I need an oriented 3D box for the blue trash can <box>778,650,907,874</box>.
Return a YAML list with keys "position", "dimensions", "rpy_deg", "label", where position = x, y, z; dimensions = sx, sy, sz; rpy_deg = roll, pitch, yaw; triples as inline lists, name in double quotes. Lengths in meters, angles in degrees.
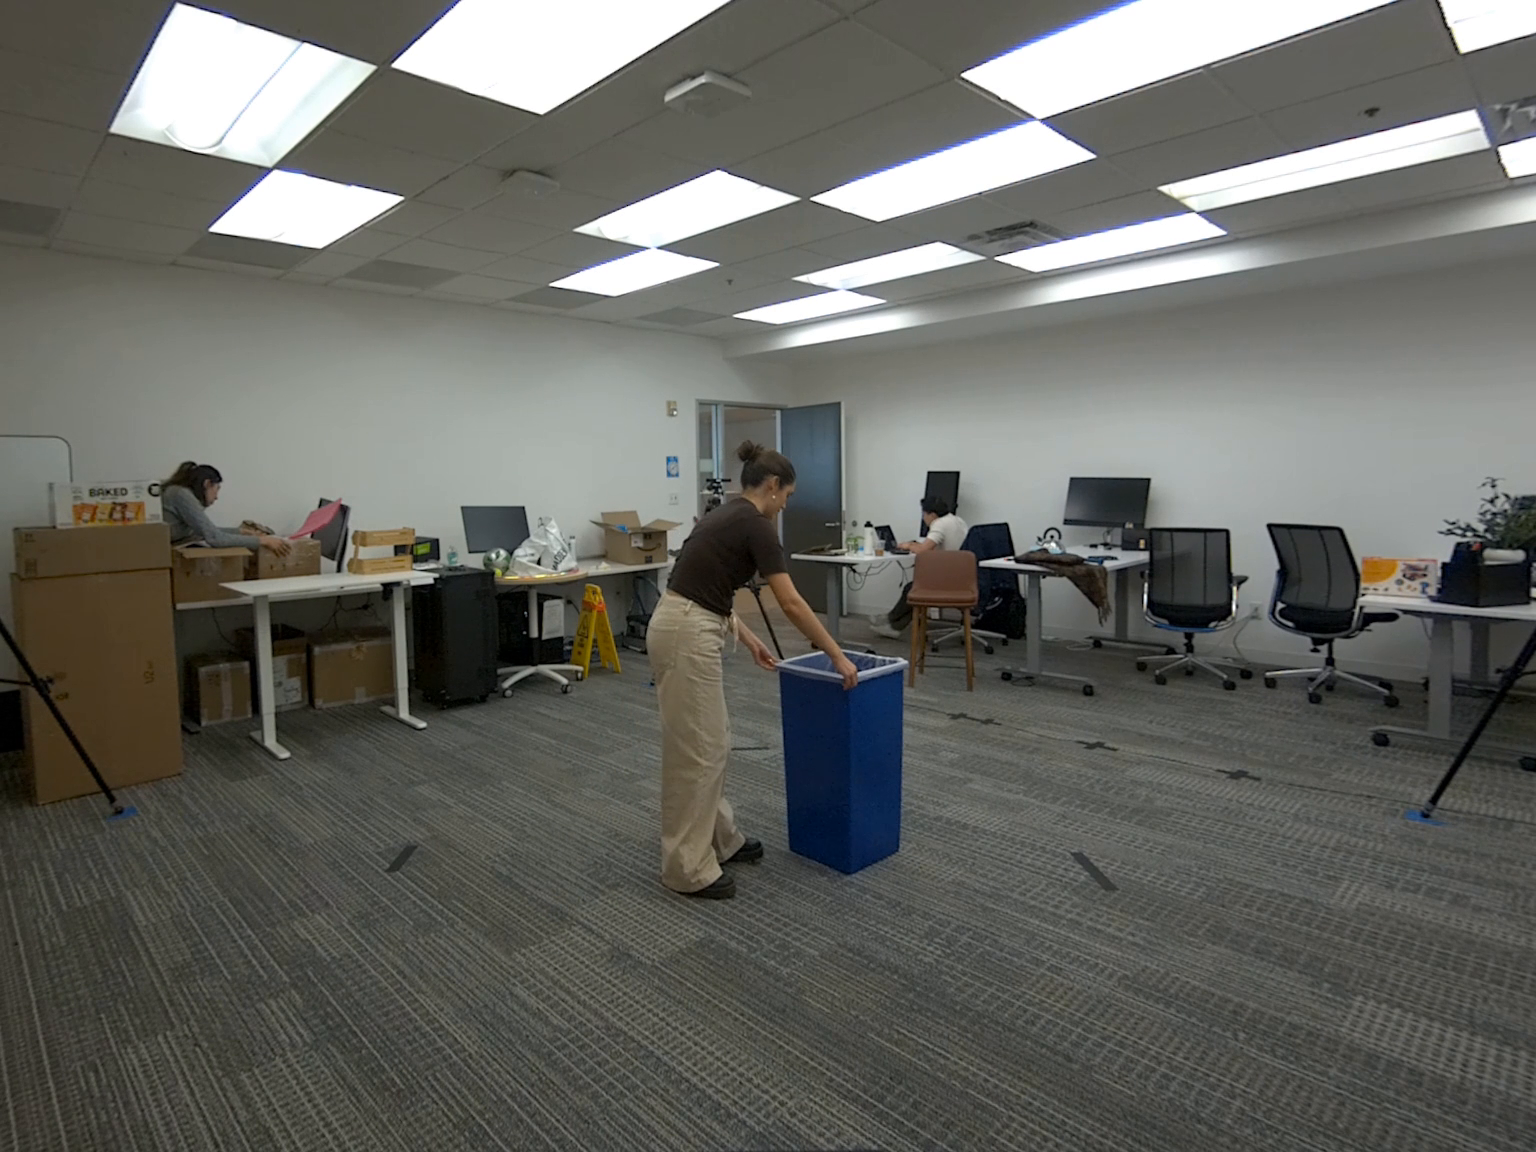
- position: [0.275, 0.670, 3.170]
  dimensions: [0.364, 0.711, 0.389]
  rpy_deg: [-6, 6, -44]
  label: "blue trash can"
